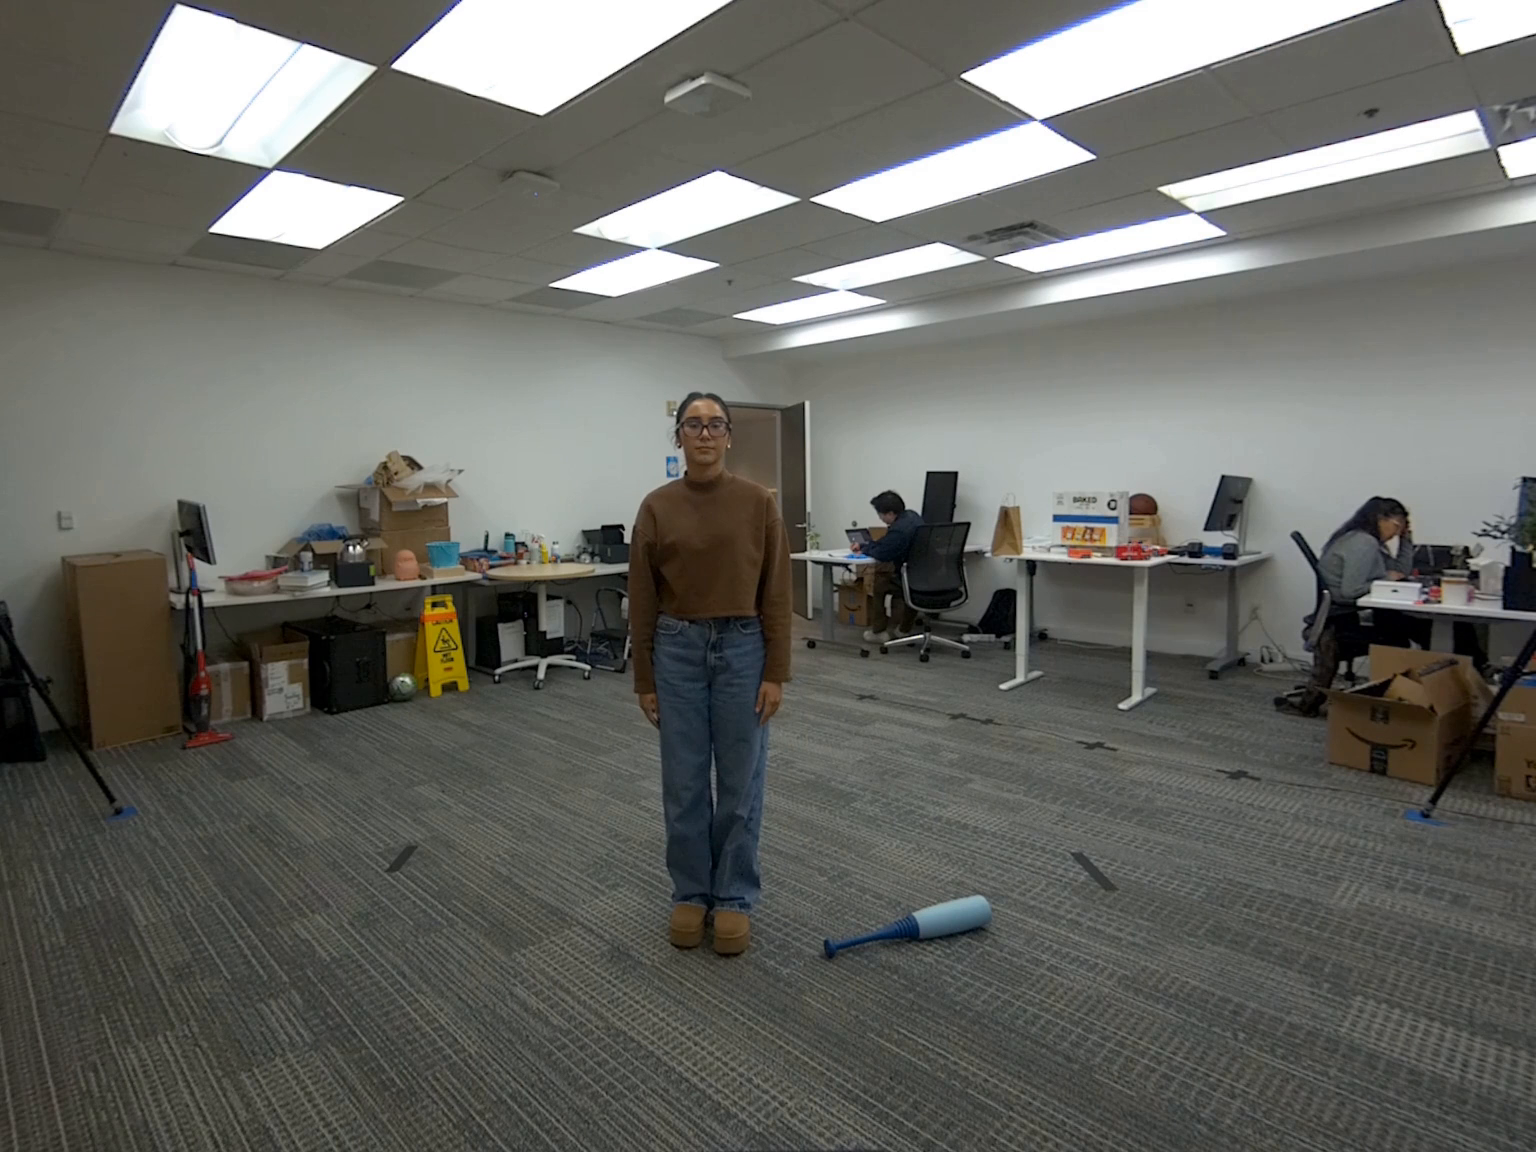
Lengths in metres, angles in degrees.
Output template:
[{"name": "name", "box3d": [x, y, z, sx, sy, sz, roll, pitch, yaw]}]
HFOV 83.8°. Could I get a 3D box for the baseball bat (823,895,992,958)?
[{"name": "baseball bat", "box3d": [0.424, 1.055, 2.566, 0.535, 0.088, 0.091, -6, 6, -17]}]
